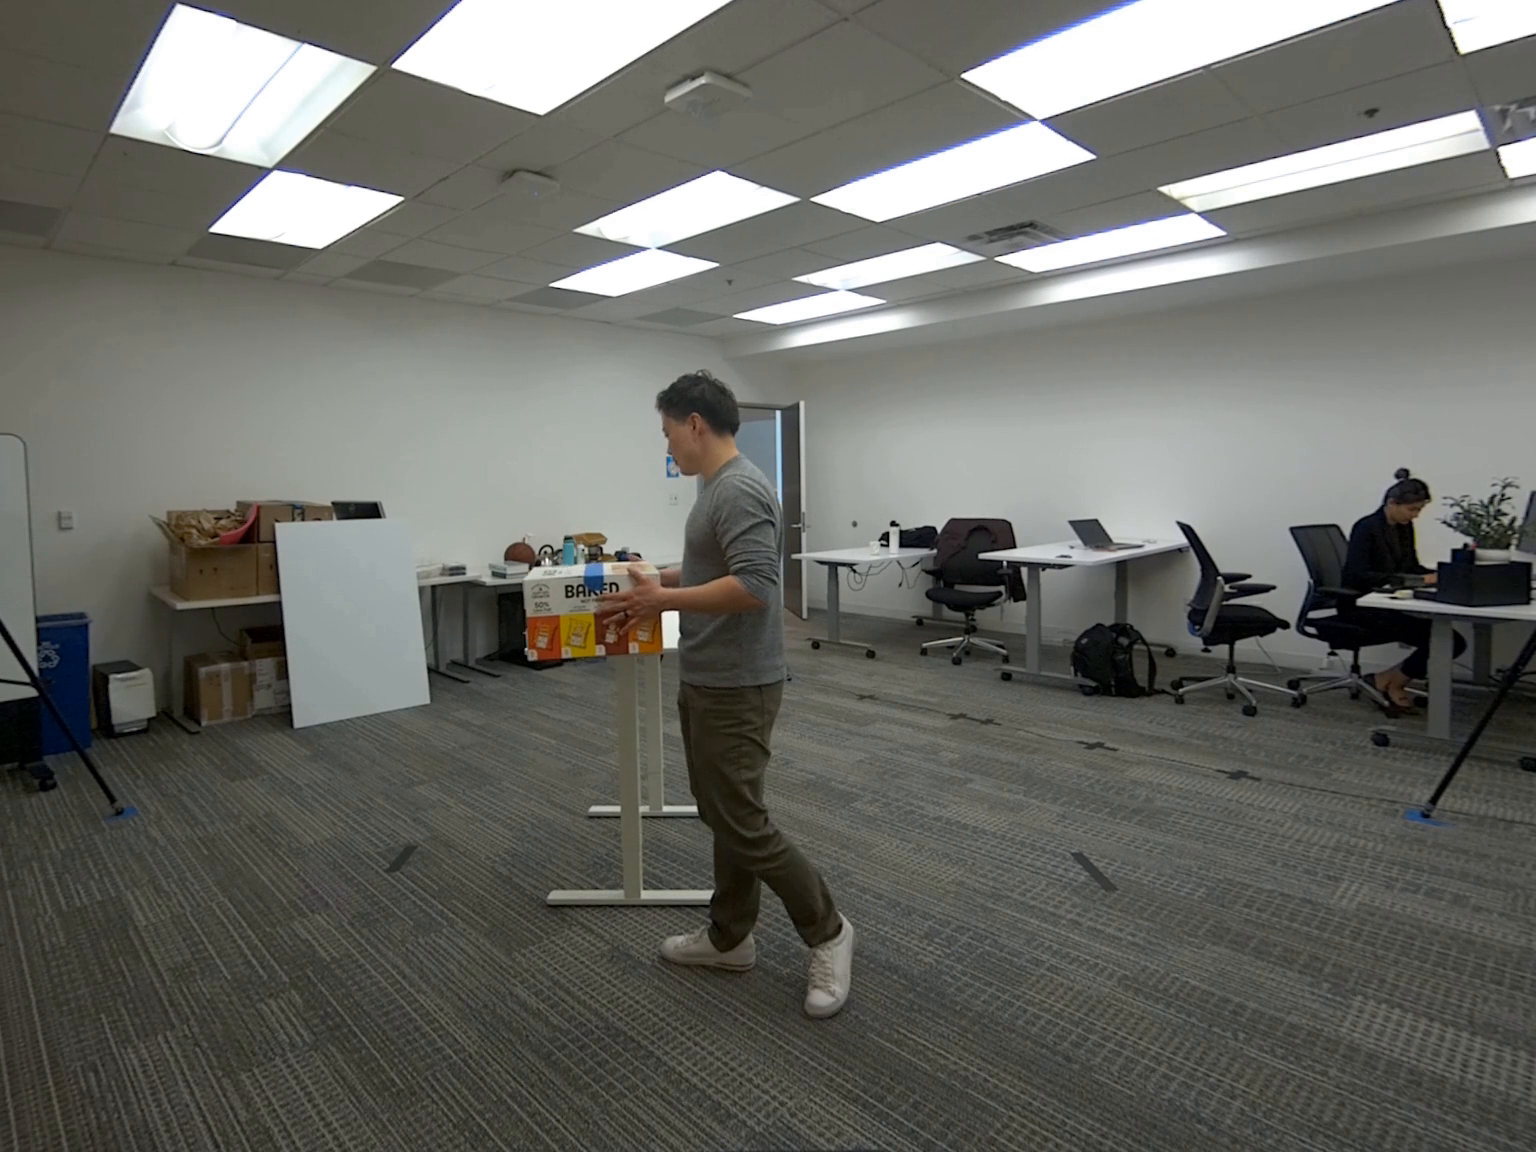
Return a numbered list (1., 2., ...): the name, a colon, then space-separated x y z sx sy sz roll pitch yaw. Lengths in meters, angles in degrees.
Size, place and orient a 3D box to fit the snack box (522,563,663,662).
1. snack box: -0.467 0.084 2.320 0.337 0.205 0.410 -3 5 -10
